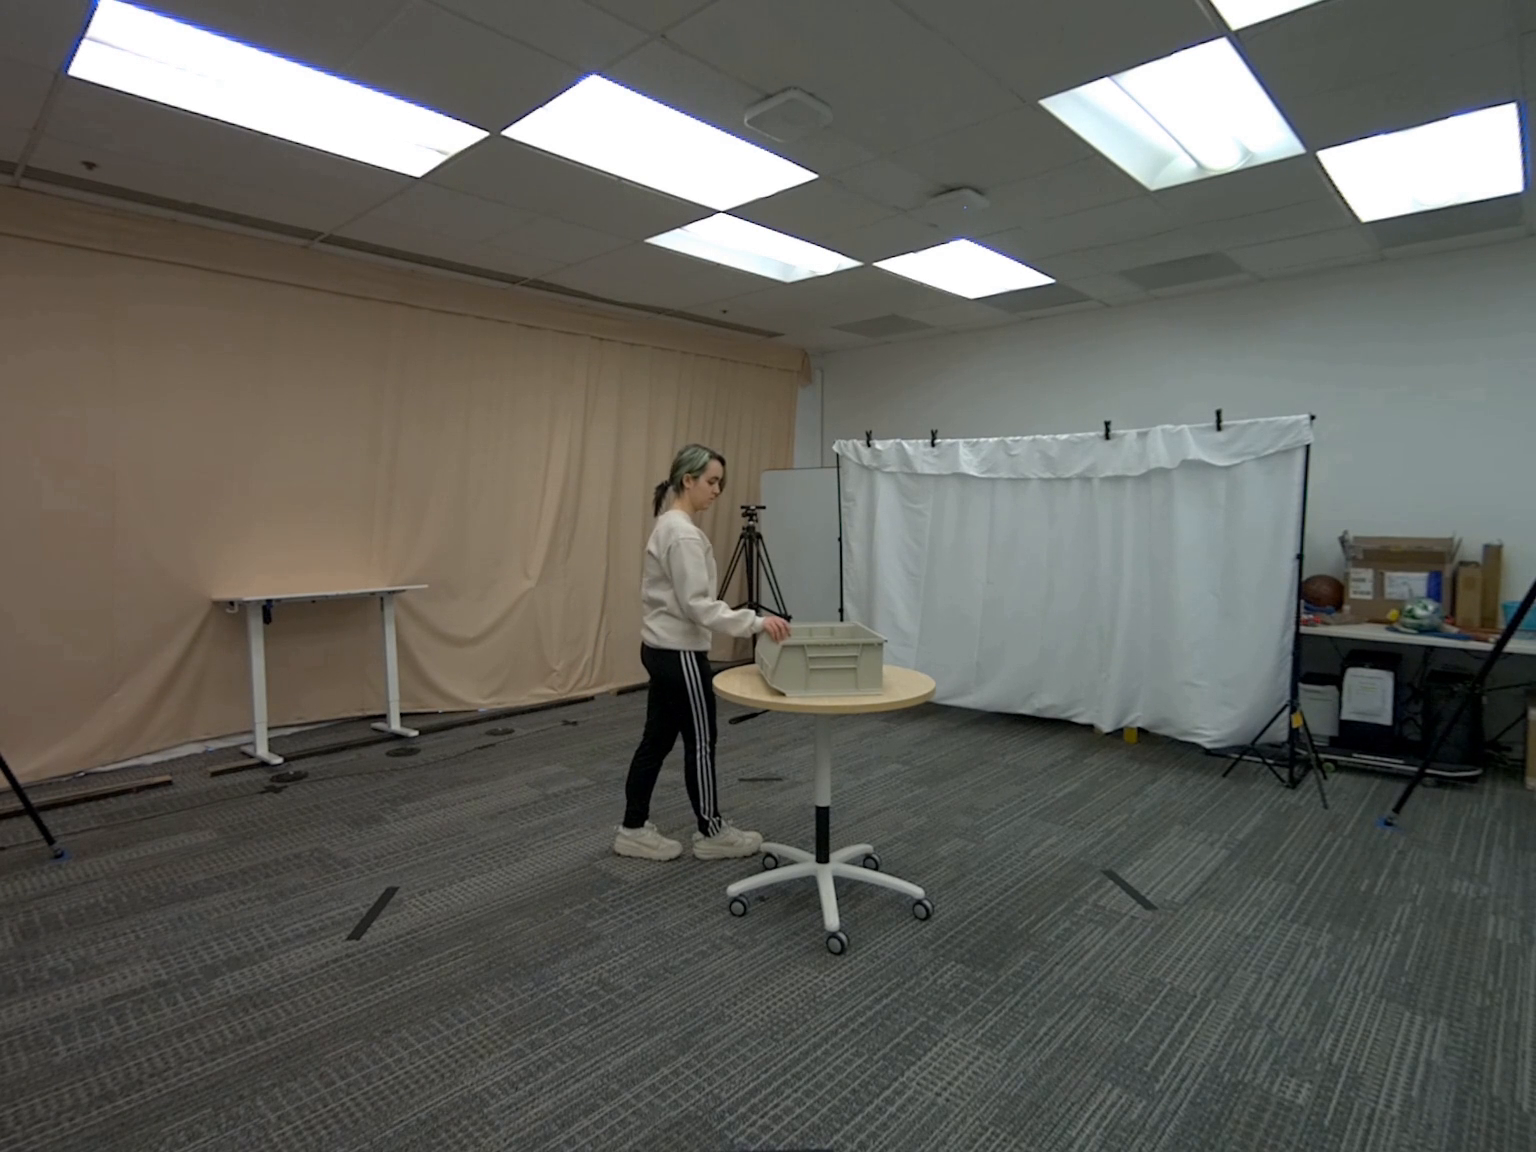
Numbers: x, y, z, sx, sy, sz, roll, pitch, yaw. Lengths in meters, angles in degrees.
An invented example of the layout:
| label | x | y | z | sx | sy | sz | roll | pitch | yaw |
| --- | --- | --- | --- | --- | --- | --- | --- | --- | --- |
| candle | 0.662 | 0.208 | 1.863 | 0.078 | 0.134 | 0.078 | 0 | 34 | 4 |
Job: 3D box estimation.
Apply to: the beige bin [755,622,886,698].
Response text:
| label | x | y | z | sx | sy | sz | roll | pitch | yaw |
| --- | --- | --- | --- | --- | --- | --- | --- | --- | --- |
| beige bin | 0.164 | 0.277 | 2.872 | 0.376 | 0.188 | 0.425 | 1 | 4 | -5 |
